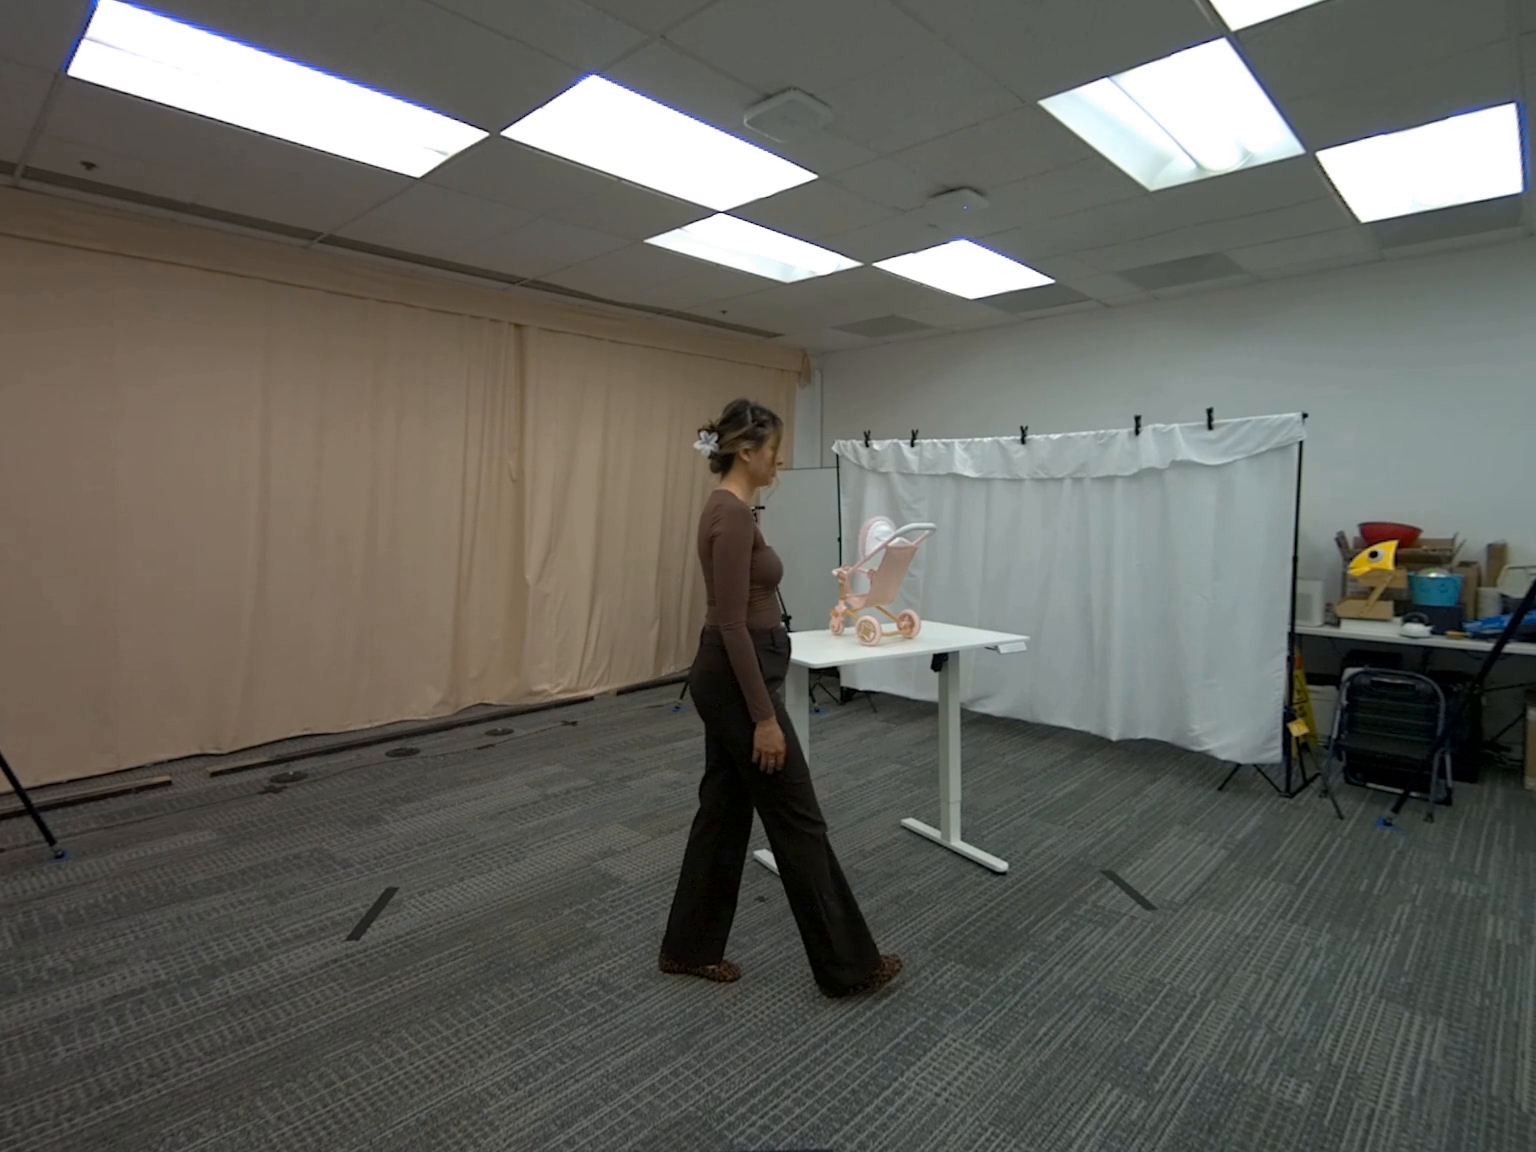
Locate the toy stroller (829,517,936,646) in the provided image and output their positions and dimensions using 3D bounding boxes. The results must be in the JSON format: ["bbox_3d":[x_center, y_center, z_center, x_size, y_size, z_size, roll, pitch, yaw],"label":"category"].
[{"bbox_3d":[0.410,0.019,3.180,0.273,0.531,0.354,-2,18,-40],"label":"toy stroller"}]
